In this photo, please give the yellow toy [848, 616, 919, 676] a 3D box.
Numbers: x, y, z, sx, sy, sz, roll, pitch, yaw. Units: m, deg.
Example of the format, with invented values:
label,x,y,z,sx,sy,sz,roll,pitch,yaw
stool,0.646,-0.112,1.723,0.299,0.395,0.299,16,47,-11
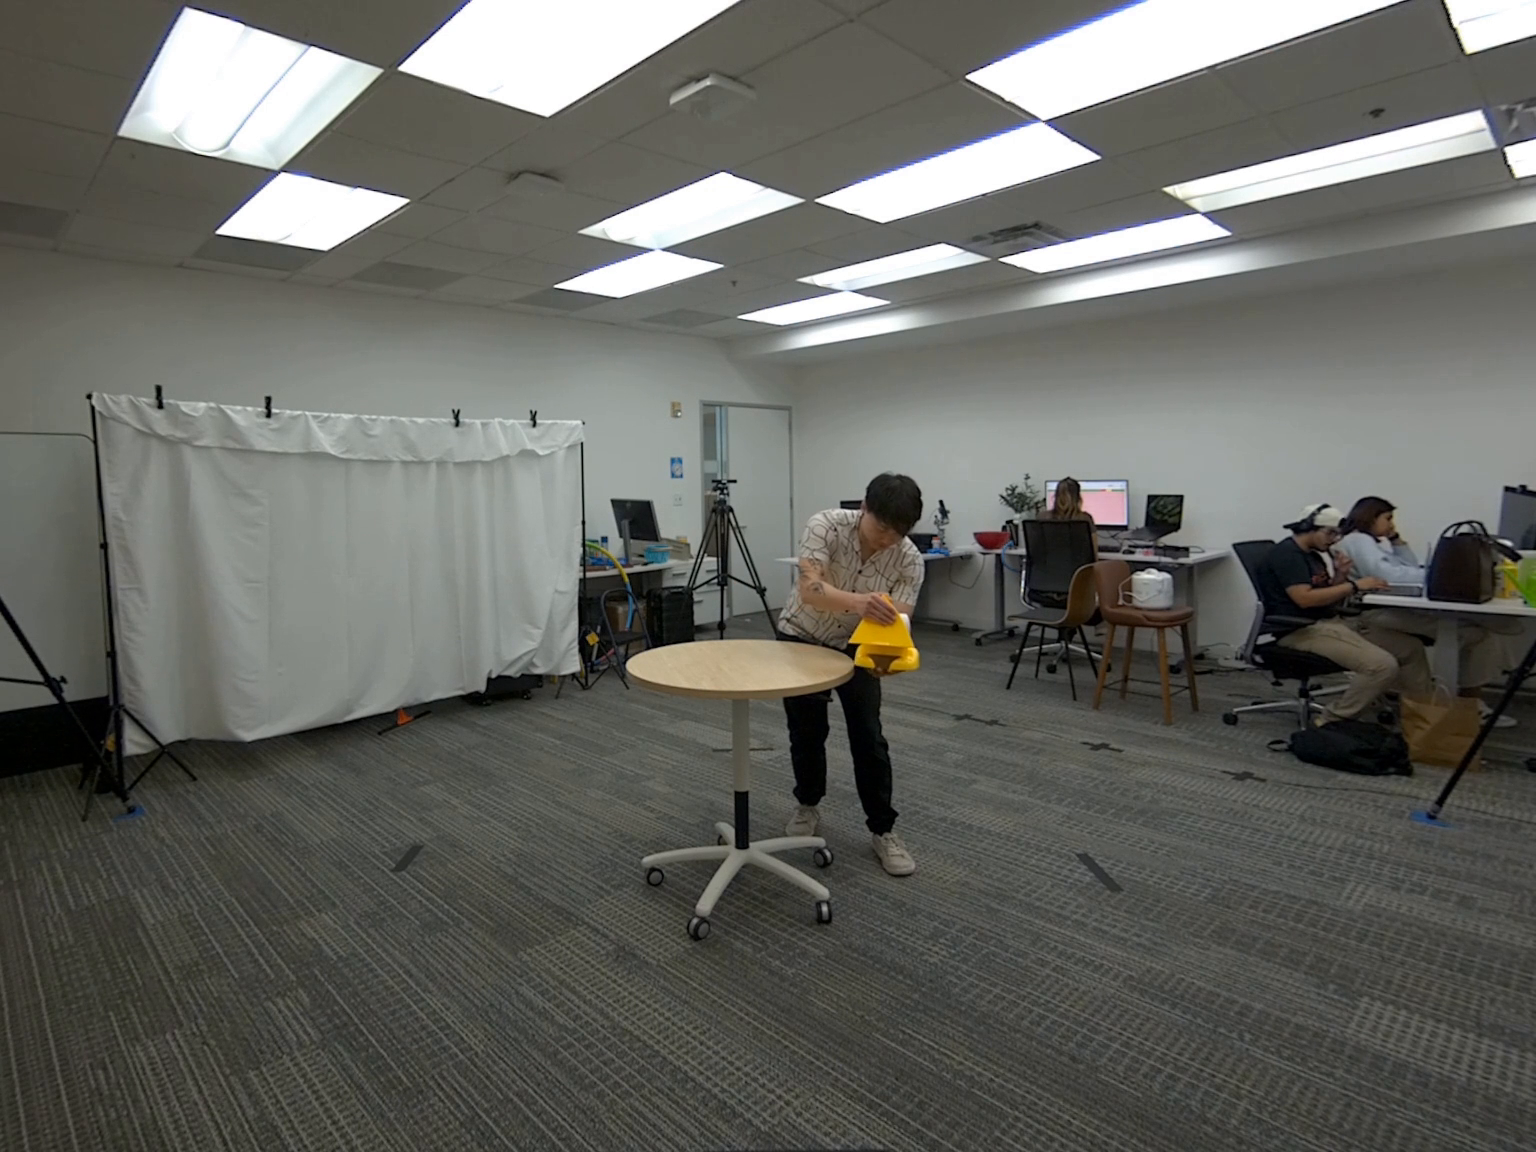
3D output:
label,x,y,z,sx,sy,sz,roll,pitch,yaw
yellow toy,0.381,0.172,2.725,0.209,0.230,0.190,2,5,21
